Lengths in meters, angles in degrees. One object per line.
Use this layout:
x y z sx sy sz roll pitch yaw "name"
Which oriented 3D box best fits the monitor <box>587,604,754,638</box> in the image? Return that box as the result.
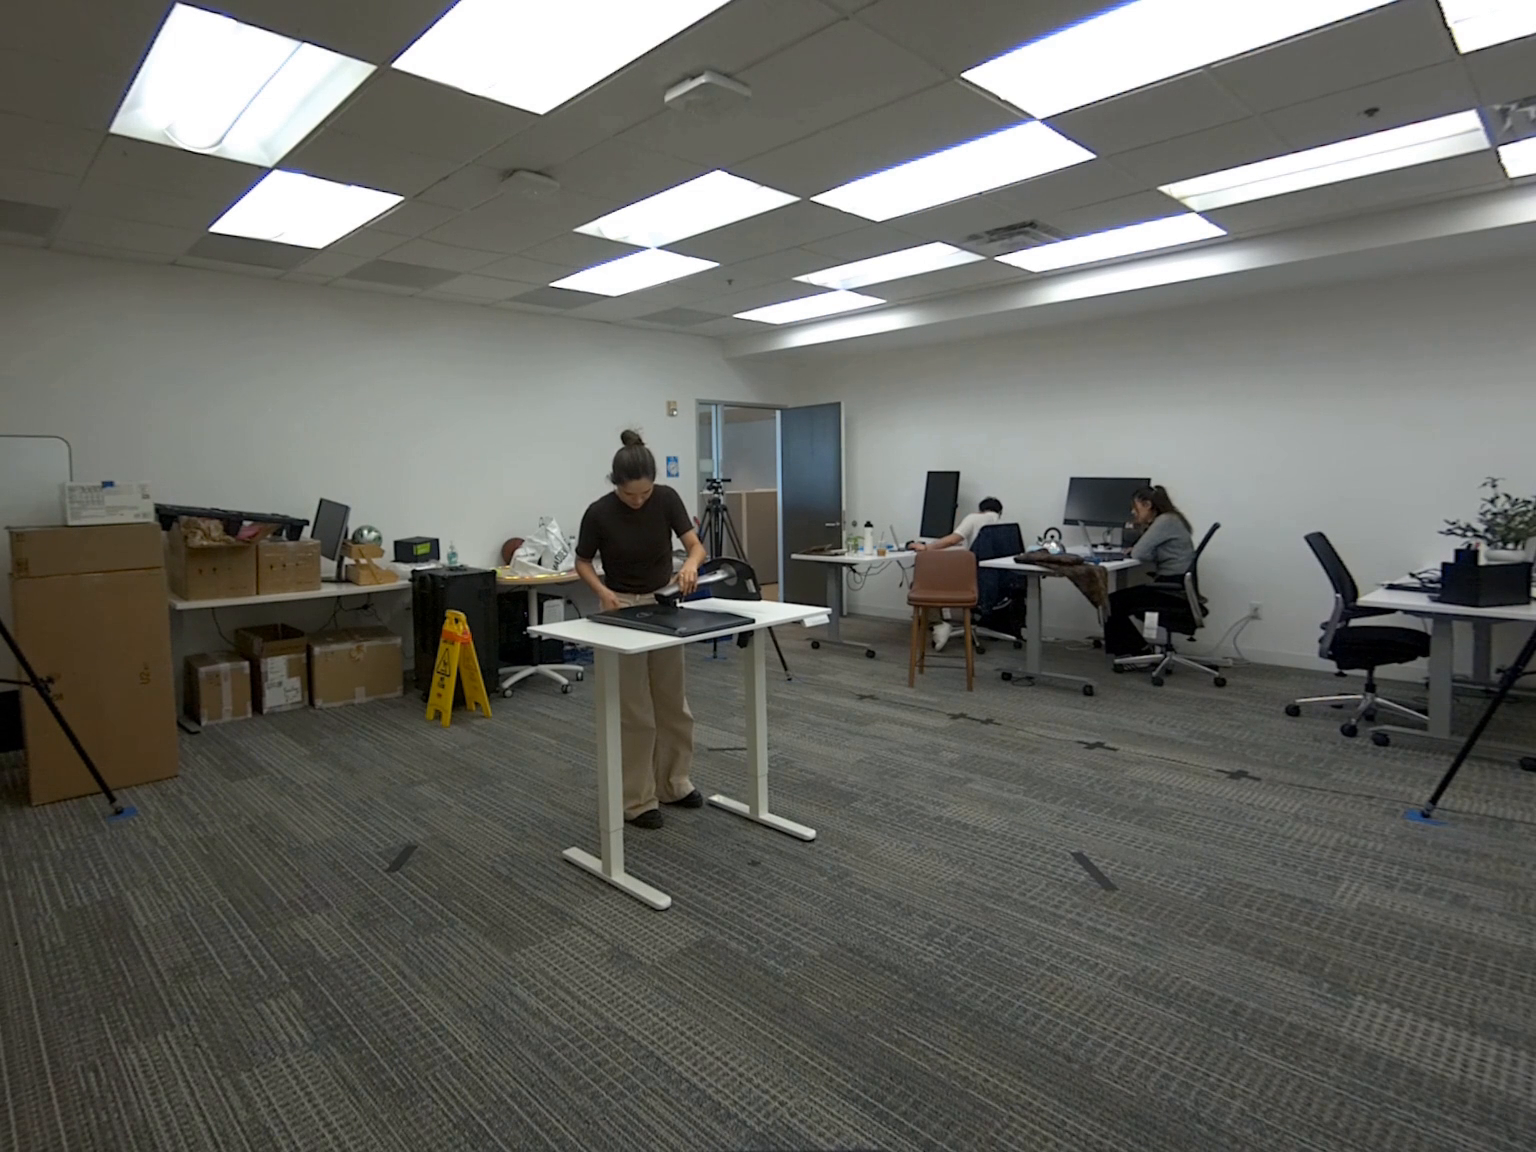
-0.298 0.102 3.152 0.555 0.184 0.515 3 22 45 "monitor"
